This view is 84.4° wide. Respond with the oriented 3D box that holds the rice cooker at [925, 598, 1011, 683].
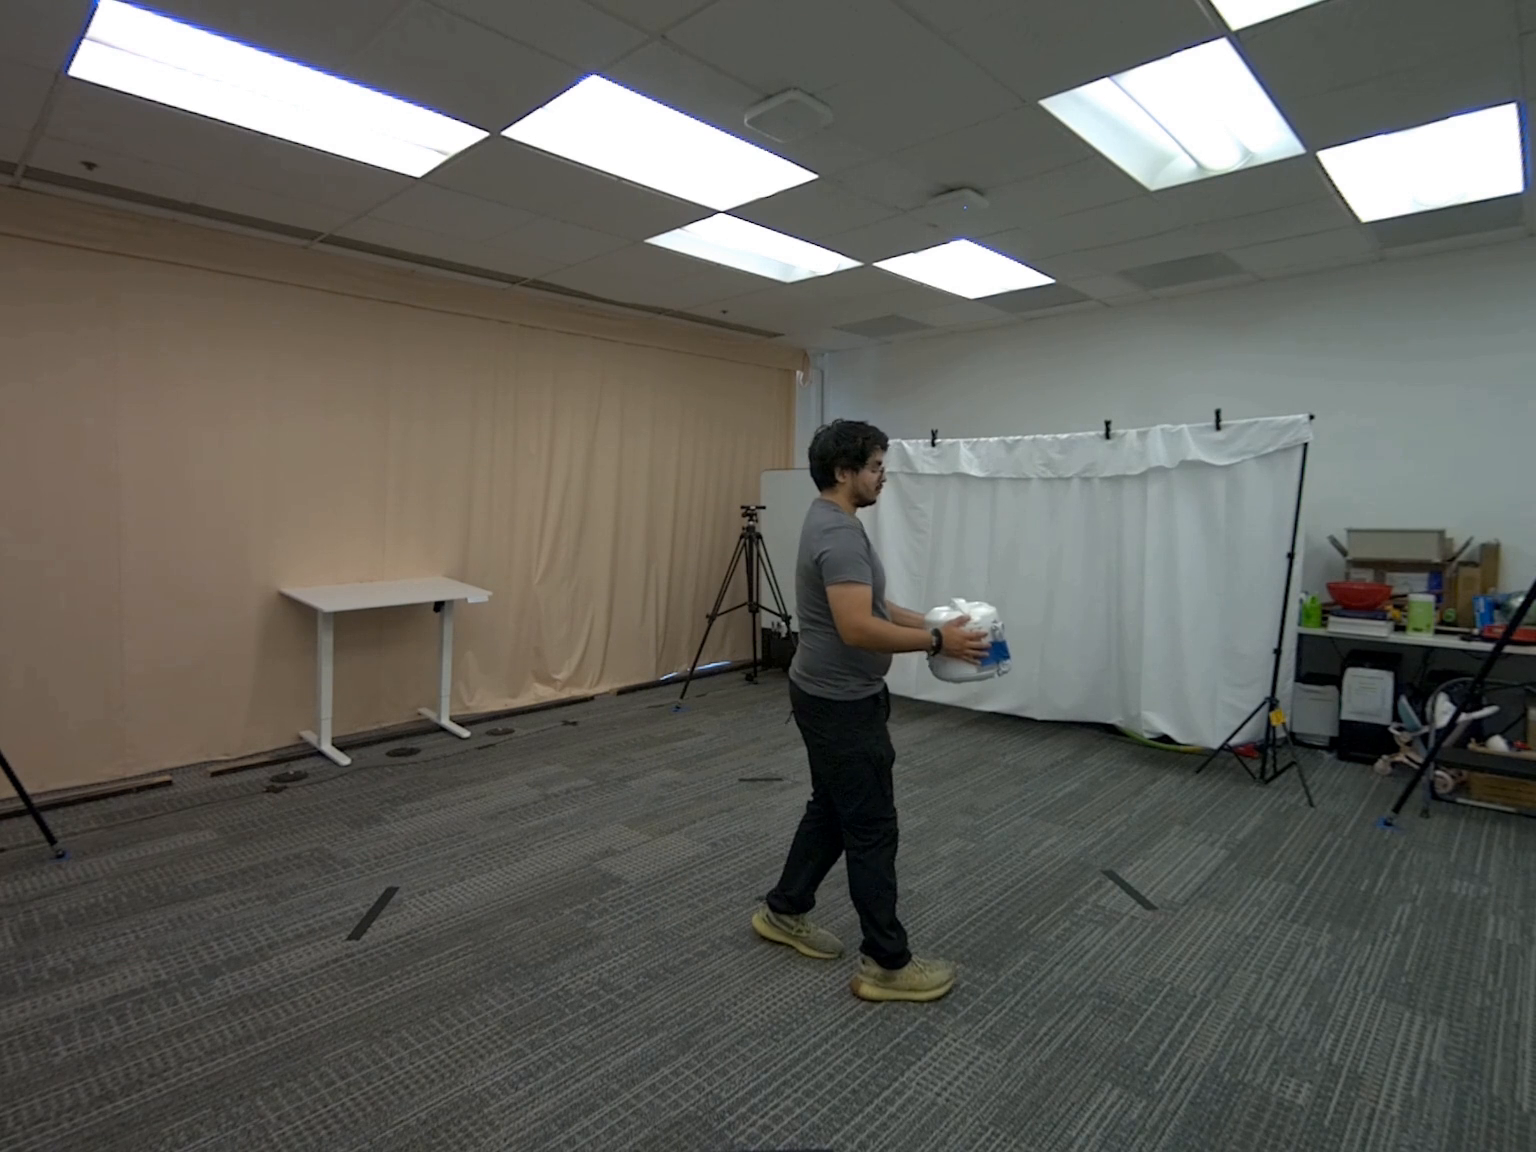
[{"bbox_3d":[0.576,0.179,2.442,0.218,0.232,0.220,-8,4,3],"label":"rice cooker"}]
